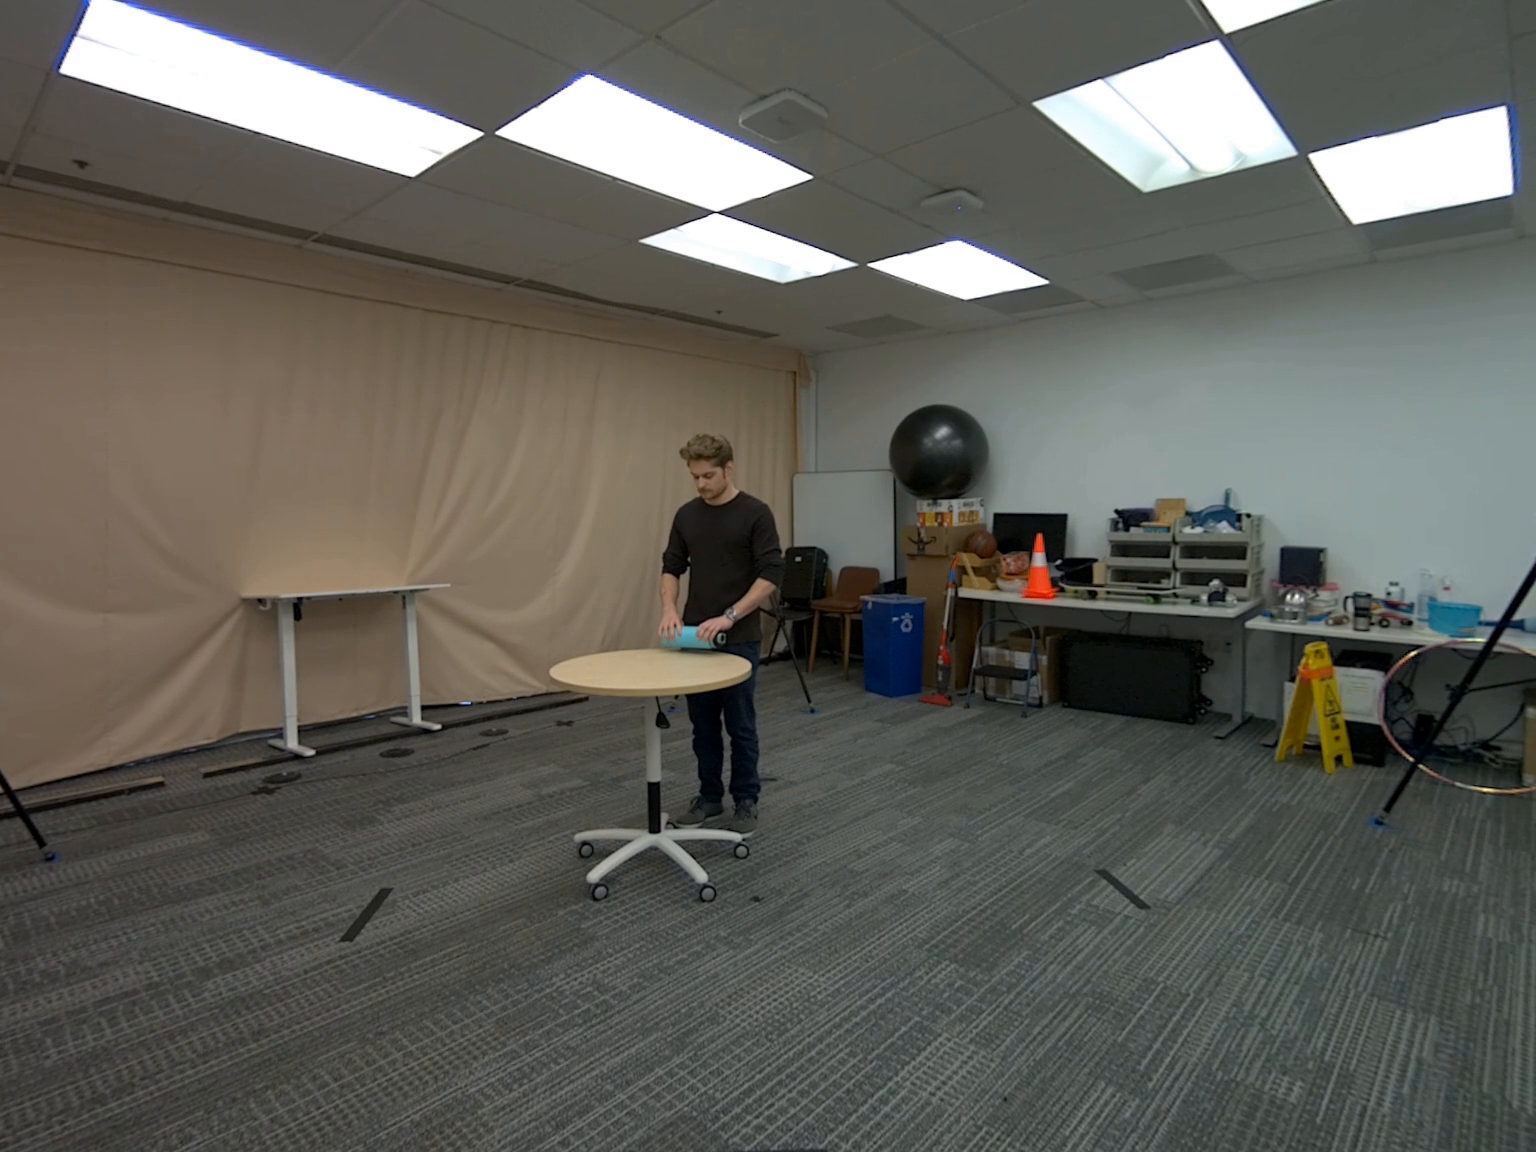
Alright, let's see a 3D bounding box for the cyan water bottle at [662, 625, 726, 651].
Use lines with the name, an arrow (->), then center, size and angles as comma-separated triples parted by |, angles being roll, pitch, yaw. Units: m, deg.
cyan water bottle -> -0.301, 0.253, 3.491 | 0.291, 0.092, 0.090 | 1, 4, 28
